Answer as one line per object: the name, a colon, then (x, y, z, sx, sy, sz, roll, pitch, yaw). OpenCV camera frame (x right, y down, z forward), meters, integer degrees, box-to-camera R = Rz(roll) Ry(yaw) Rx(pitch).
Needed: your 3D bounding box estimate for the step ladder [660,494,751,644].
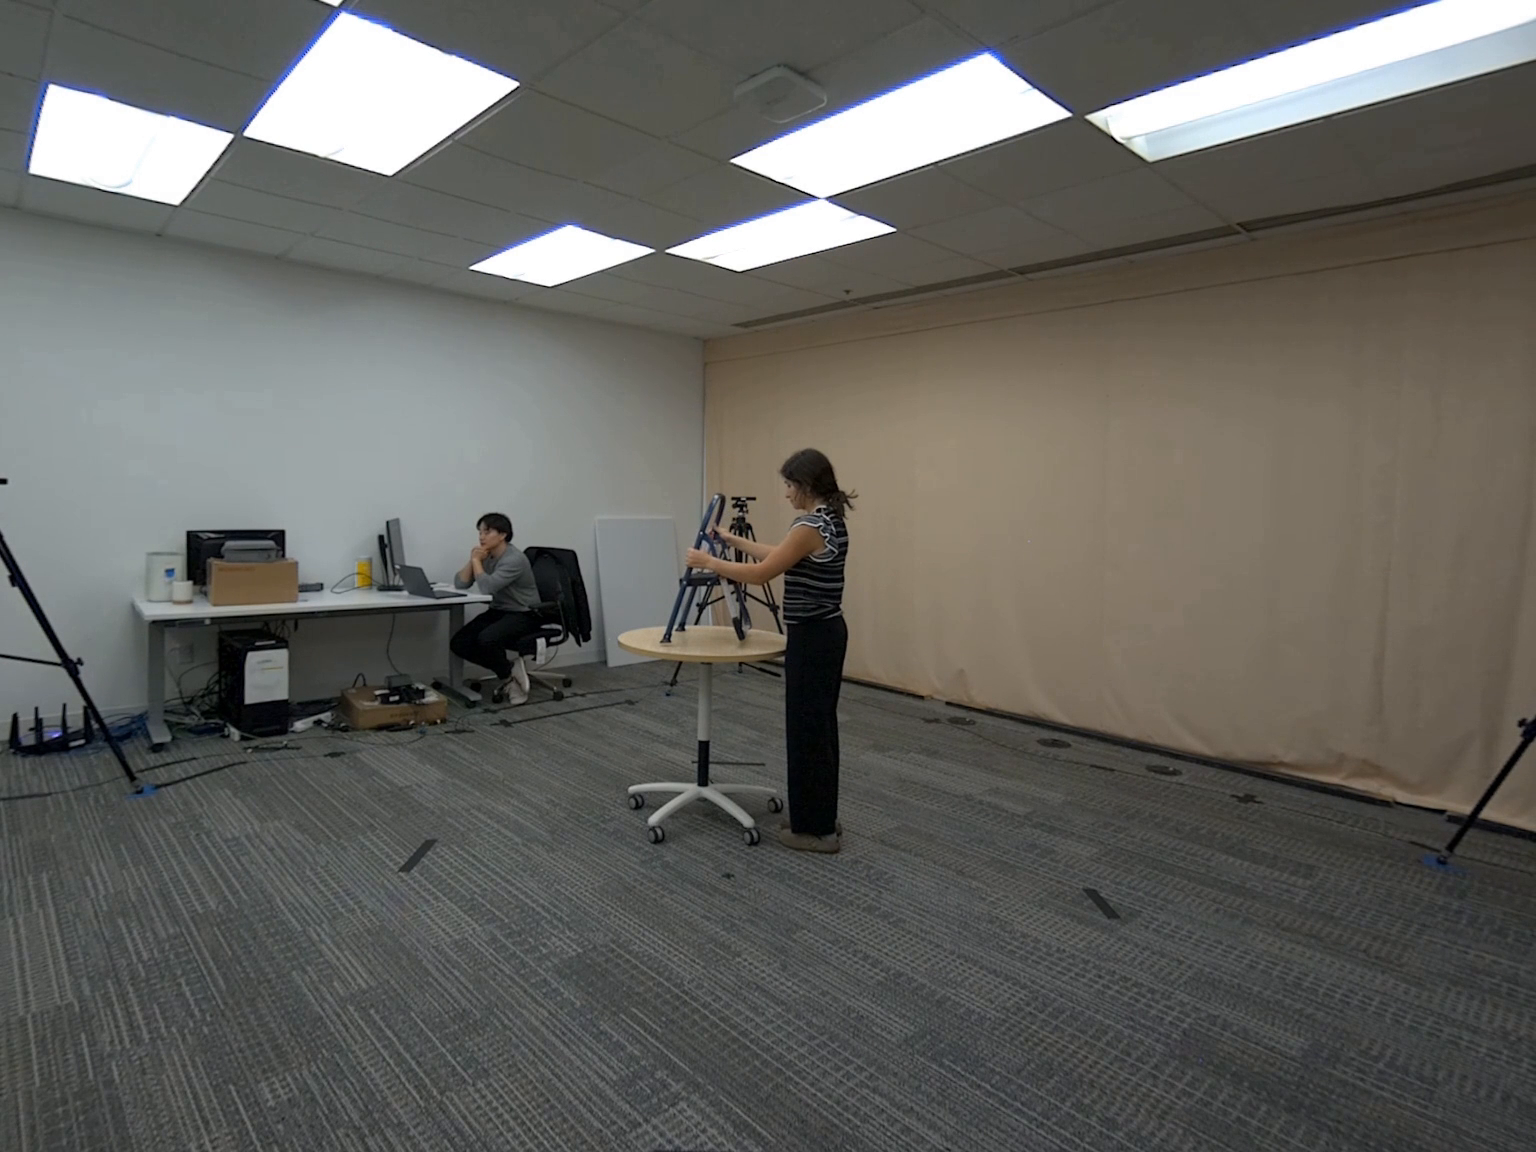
step ladder: (-0.279, -0.036, 3.617, 0.351, 0.604, 0.430, -1, 5, 4)
